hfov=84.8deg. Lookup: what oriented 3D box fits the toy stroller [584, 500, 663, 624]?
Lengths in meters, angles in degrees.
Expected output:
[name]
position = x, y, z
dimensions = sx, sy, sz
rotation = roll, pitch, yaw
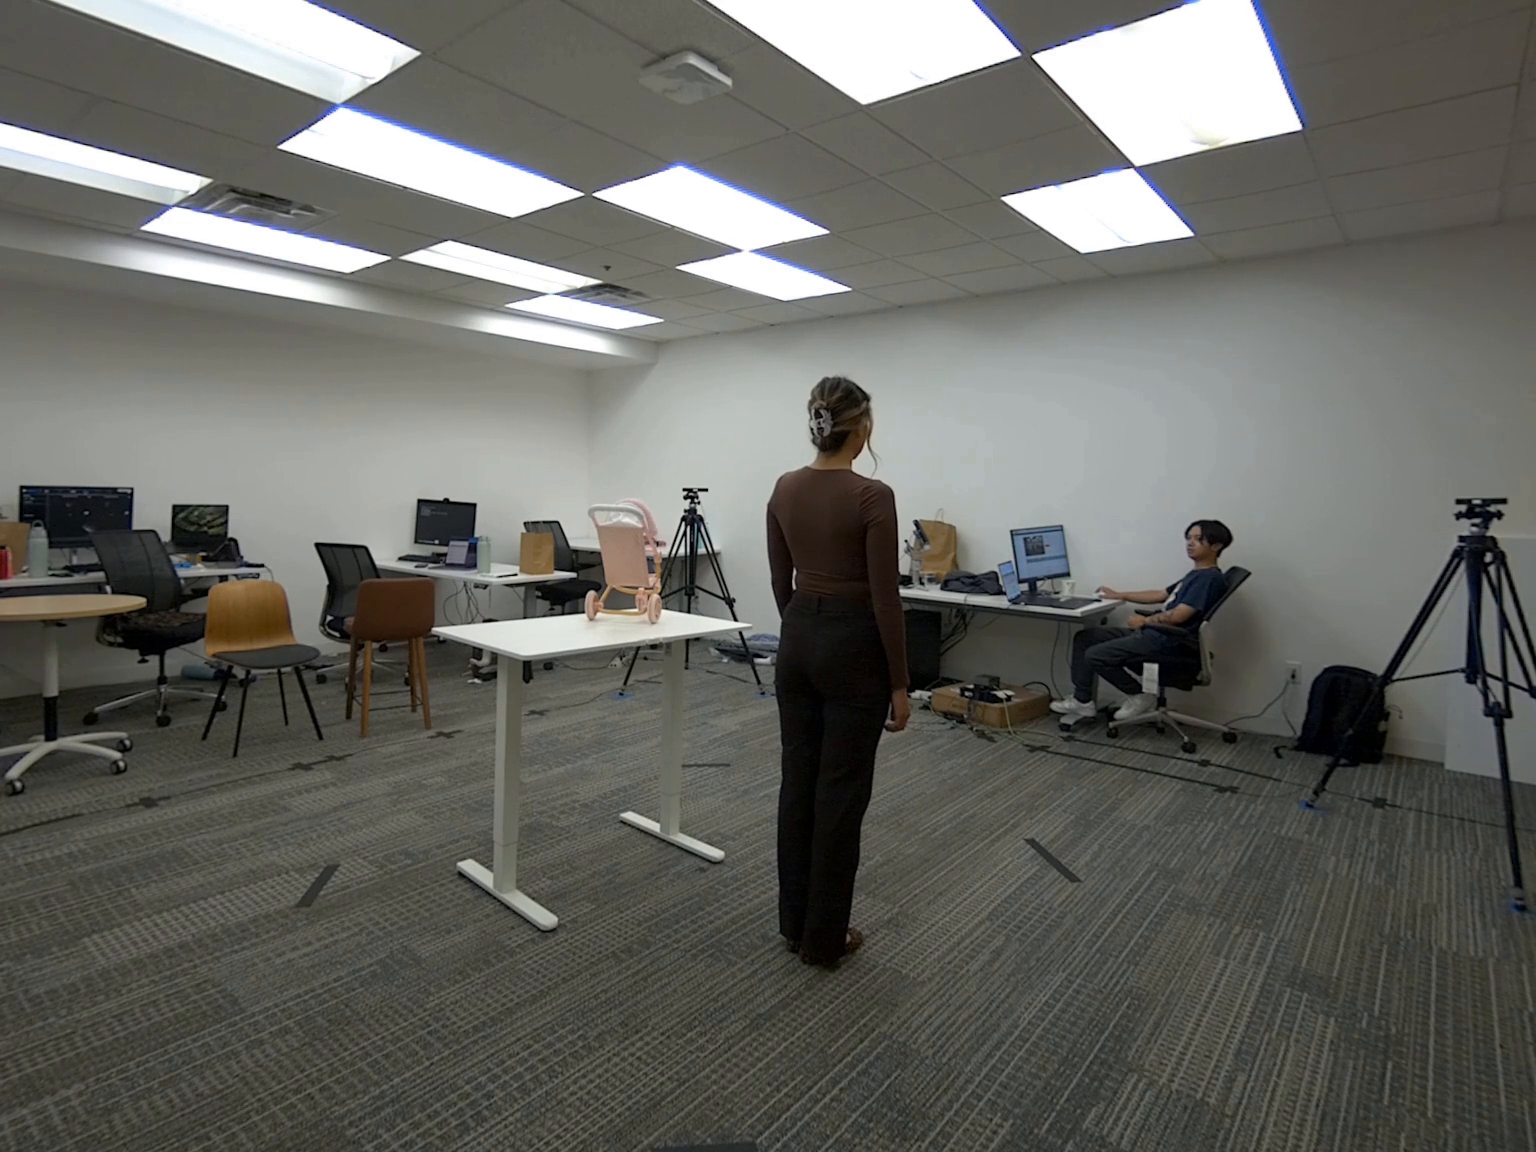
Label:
[toy stroller]
position = -0.545, -0.059, 3.287
dimensions = 0.286, 0.526, 0.341
rotation = 3, 18, 14
